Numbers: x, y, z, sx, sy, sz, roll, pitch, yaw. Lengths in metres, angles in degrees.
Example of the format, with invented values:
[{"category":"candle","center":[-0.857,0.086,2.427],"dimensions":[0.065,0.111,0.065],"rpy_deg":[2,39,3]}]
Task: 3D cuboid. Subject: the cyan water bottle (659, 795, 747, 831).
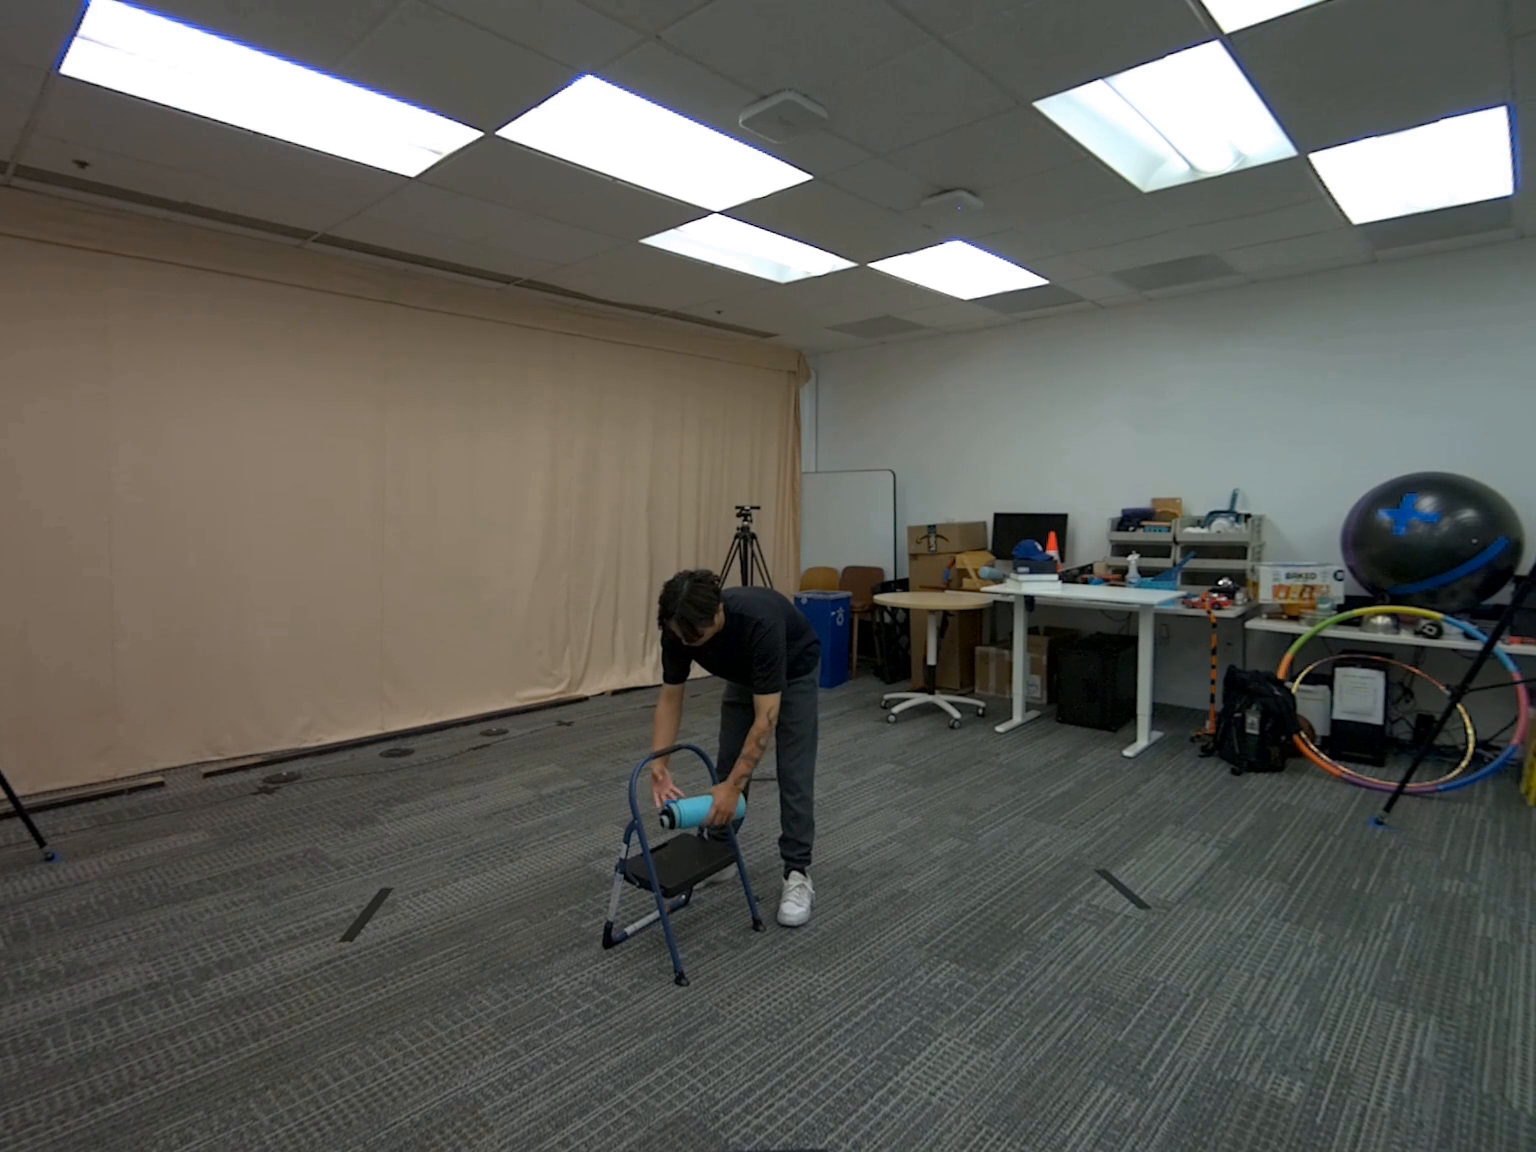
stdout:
[{"category":"cyan water bottle","center":[-0.203,0.735,2.650],"dimensions":[0.276,0.092,0.095],"rpy_deg":[-1,4,-28]}]
